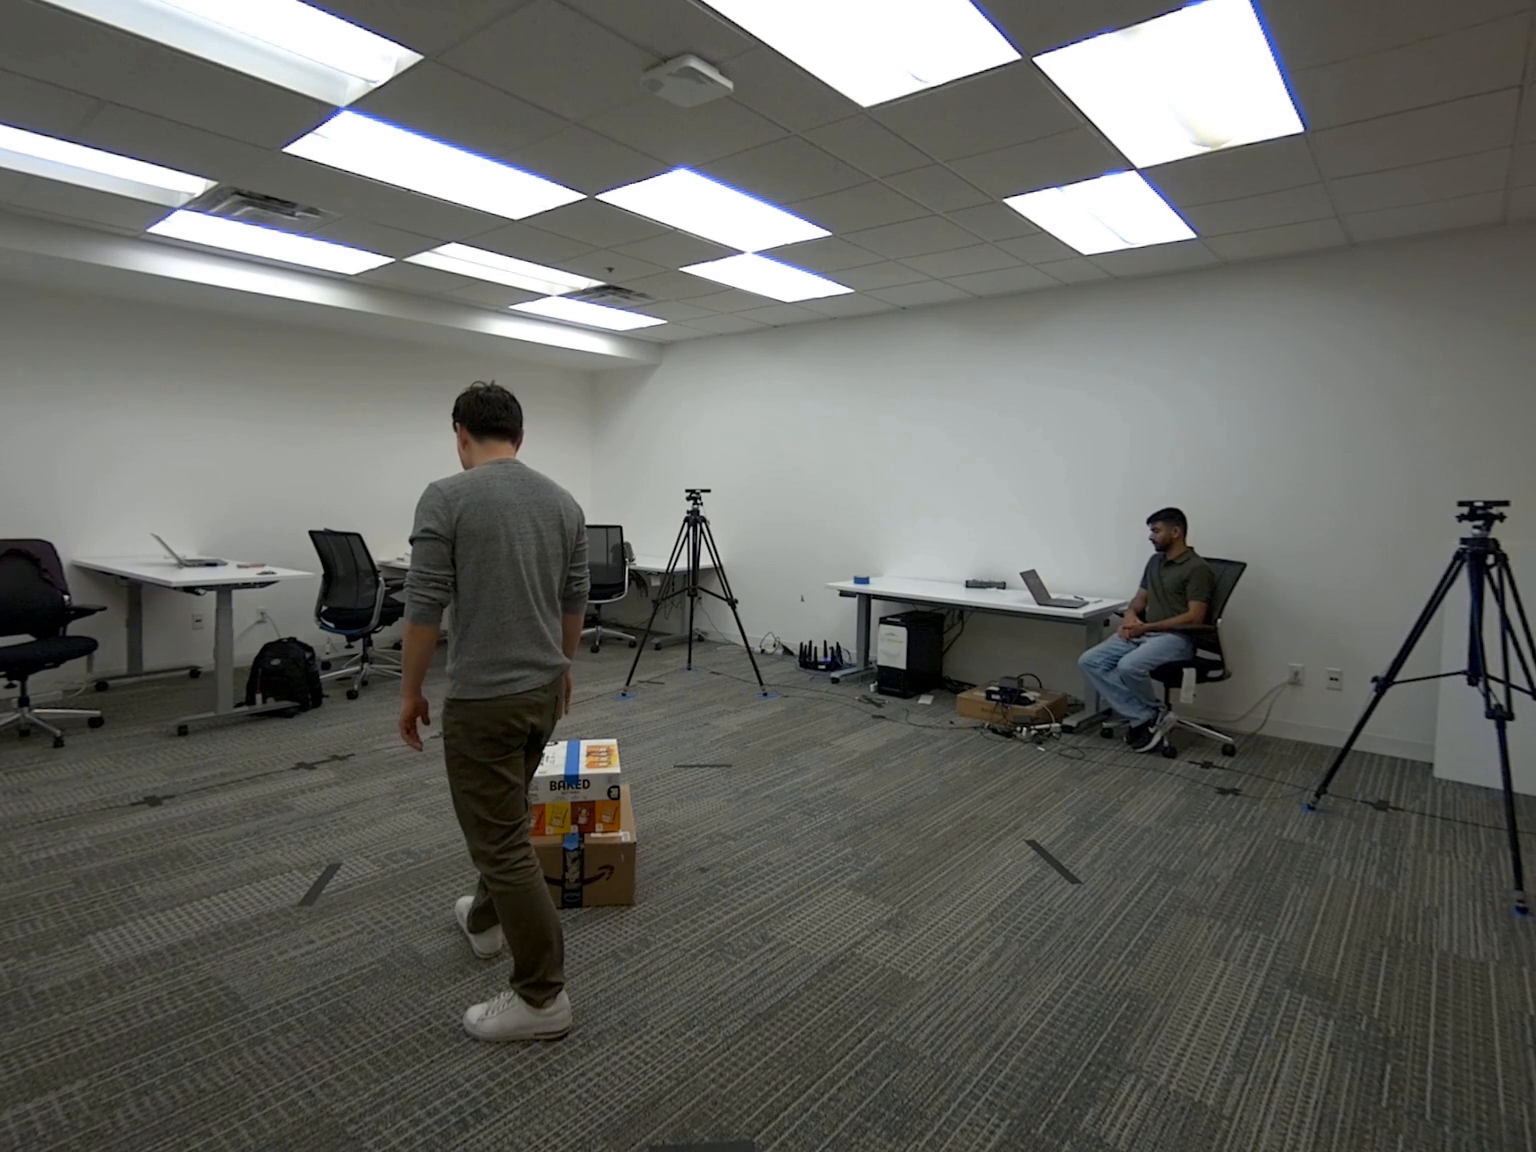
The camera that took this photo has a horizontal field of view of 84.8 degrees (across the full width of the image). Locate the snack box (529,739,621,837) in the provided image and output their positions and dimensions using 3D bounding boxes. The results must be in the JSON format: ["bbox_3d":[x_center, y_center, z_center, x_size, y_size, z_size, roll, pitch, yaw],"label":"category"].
[{"bbox_3d":[-0.719,0.750,3.069,0.337,0.205,0.411,-1,5,-11],"label":"snack box"}]
